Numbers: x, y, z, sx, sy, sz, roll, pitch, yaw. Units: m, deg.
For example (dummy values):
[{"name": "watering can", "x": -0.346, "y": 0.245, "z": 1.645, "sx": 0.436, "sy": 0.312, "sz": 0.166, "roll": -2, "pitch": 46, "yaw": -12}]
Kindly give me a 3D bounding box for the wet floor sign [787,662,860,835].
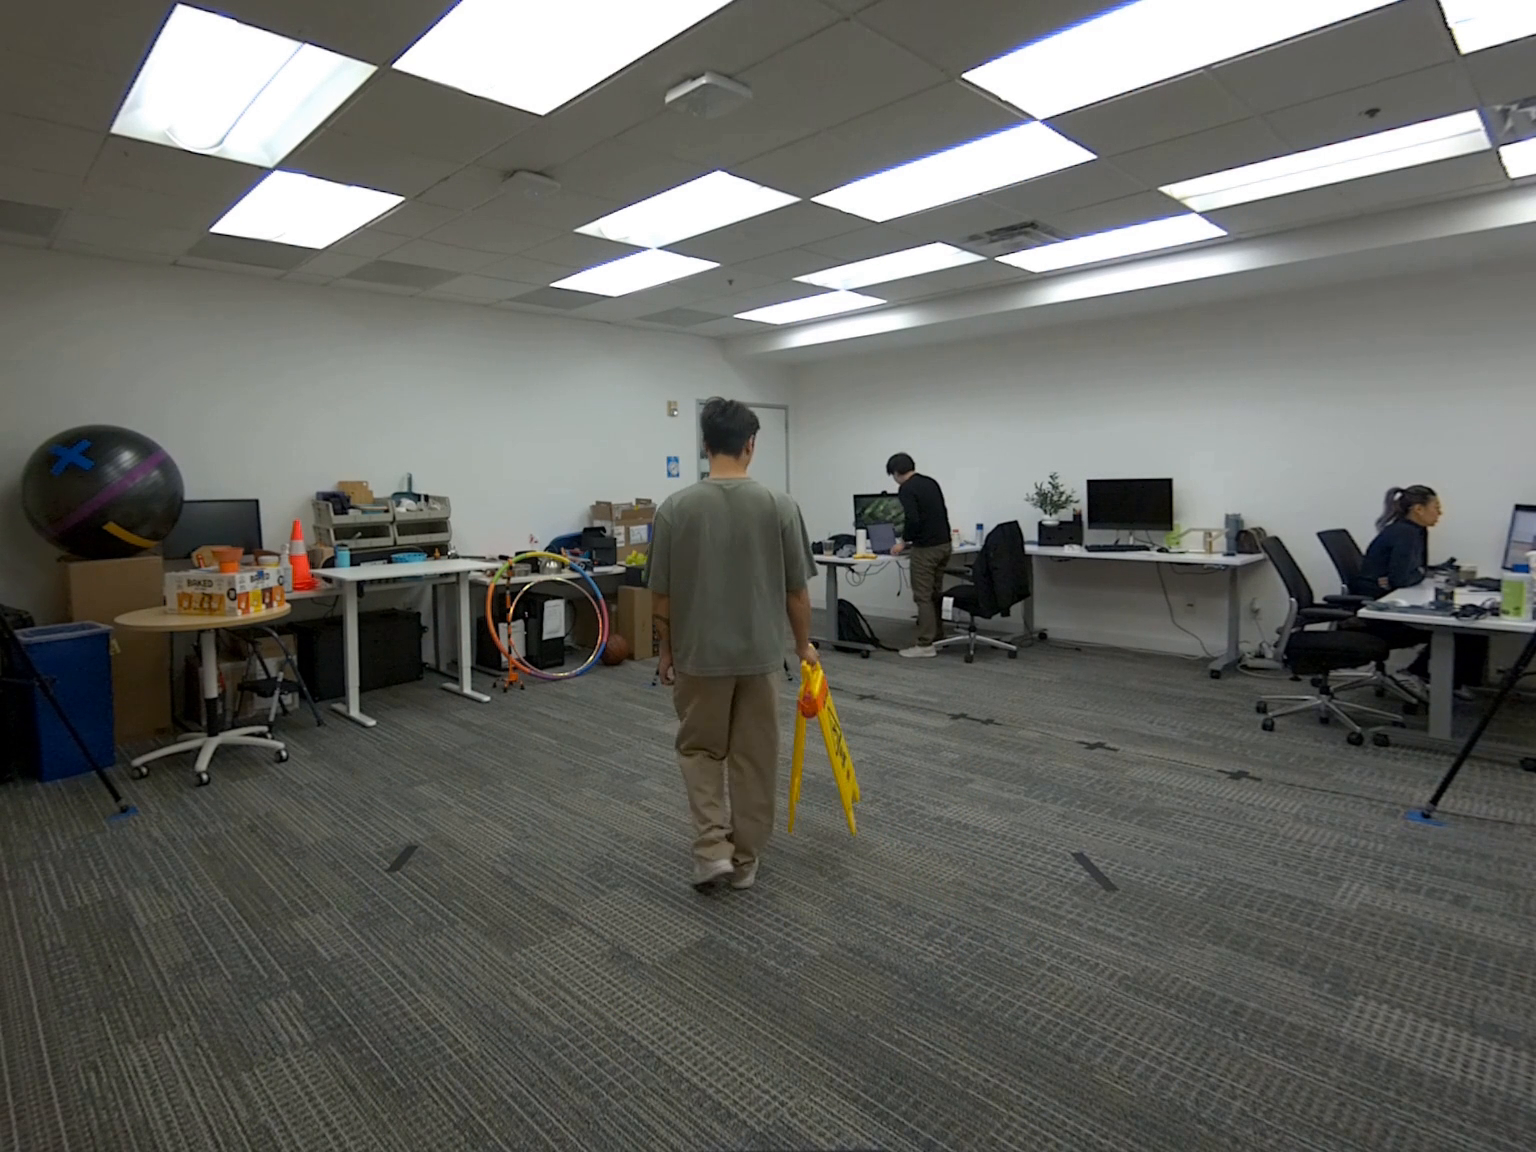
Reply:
[{"name": "wet floor sign", "x": 0.177, "y": 0.593, "z": 3.129, "sx": 0.293, "sy": 0.637, "sz": 0.283, "roll": -4, "pitch": 13, "yaw": 12}]
